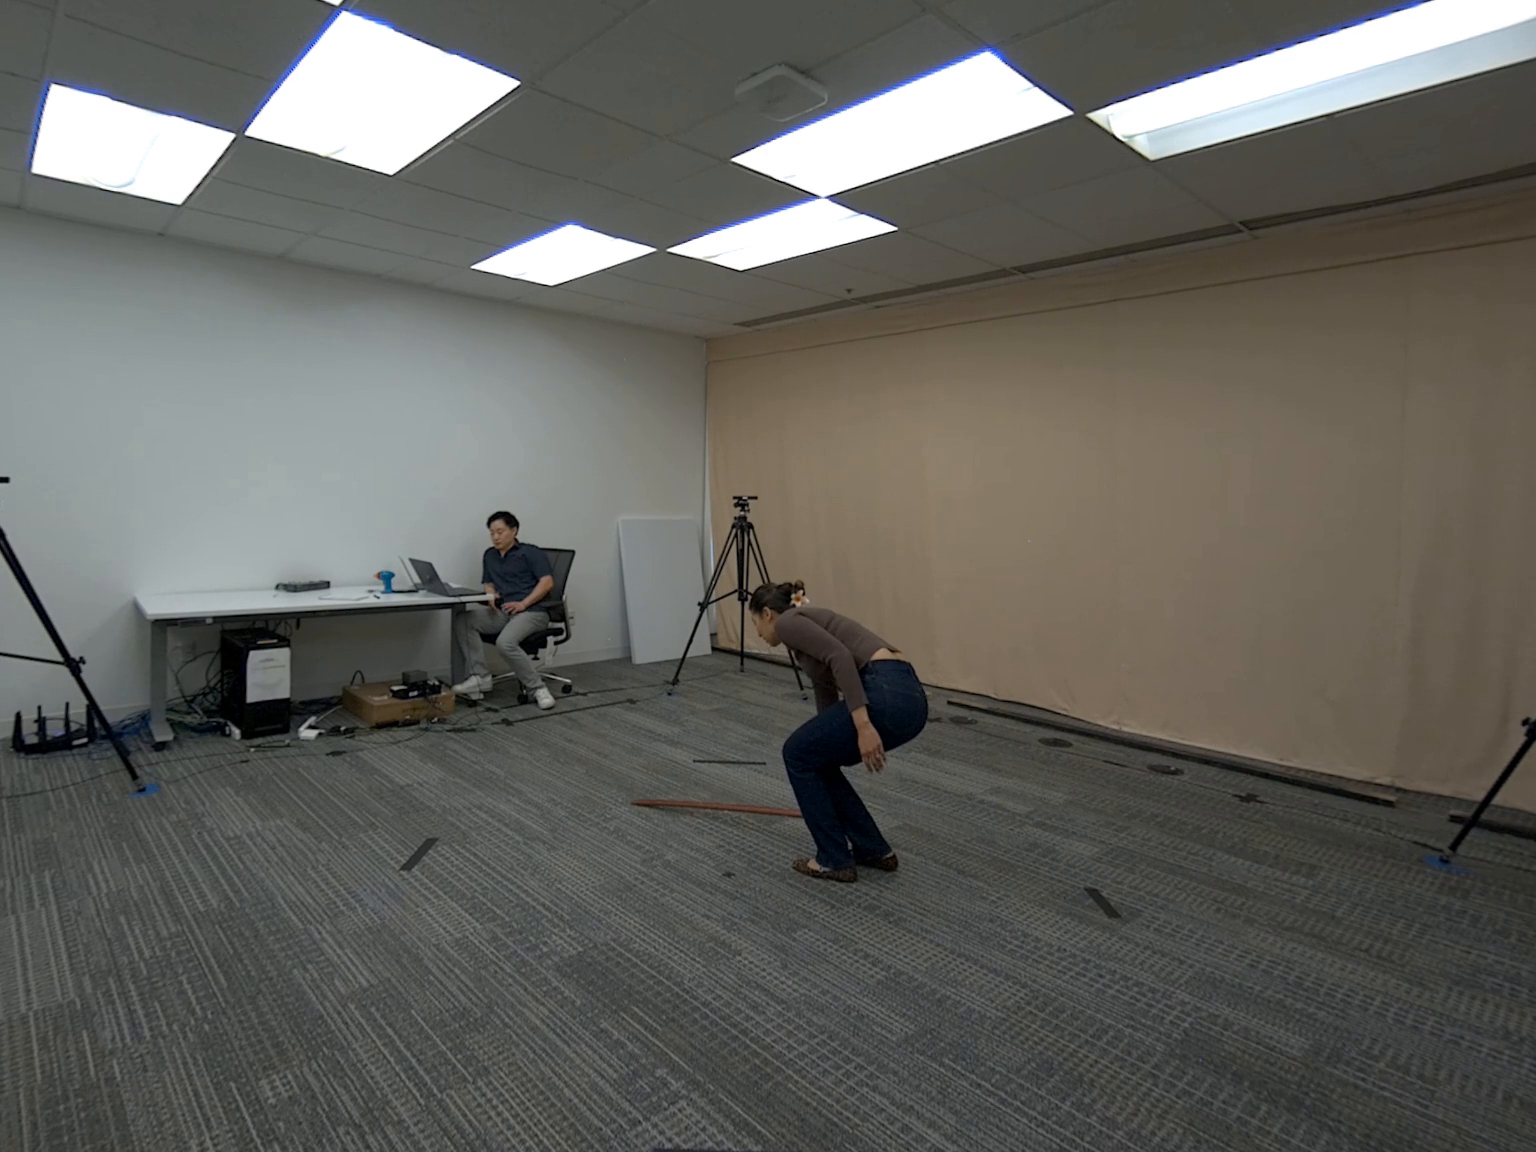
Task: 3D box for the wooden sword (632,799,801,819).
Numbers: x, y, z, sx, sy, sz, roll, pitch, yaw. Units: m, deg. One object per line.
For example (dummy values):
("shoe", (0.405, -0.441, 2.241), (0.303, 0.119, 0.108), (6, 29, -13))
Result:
("wooden sword", (-0.145, 0.999, 3.606), (1.042, 0.023, 0.052), (0, 47, 23))
